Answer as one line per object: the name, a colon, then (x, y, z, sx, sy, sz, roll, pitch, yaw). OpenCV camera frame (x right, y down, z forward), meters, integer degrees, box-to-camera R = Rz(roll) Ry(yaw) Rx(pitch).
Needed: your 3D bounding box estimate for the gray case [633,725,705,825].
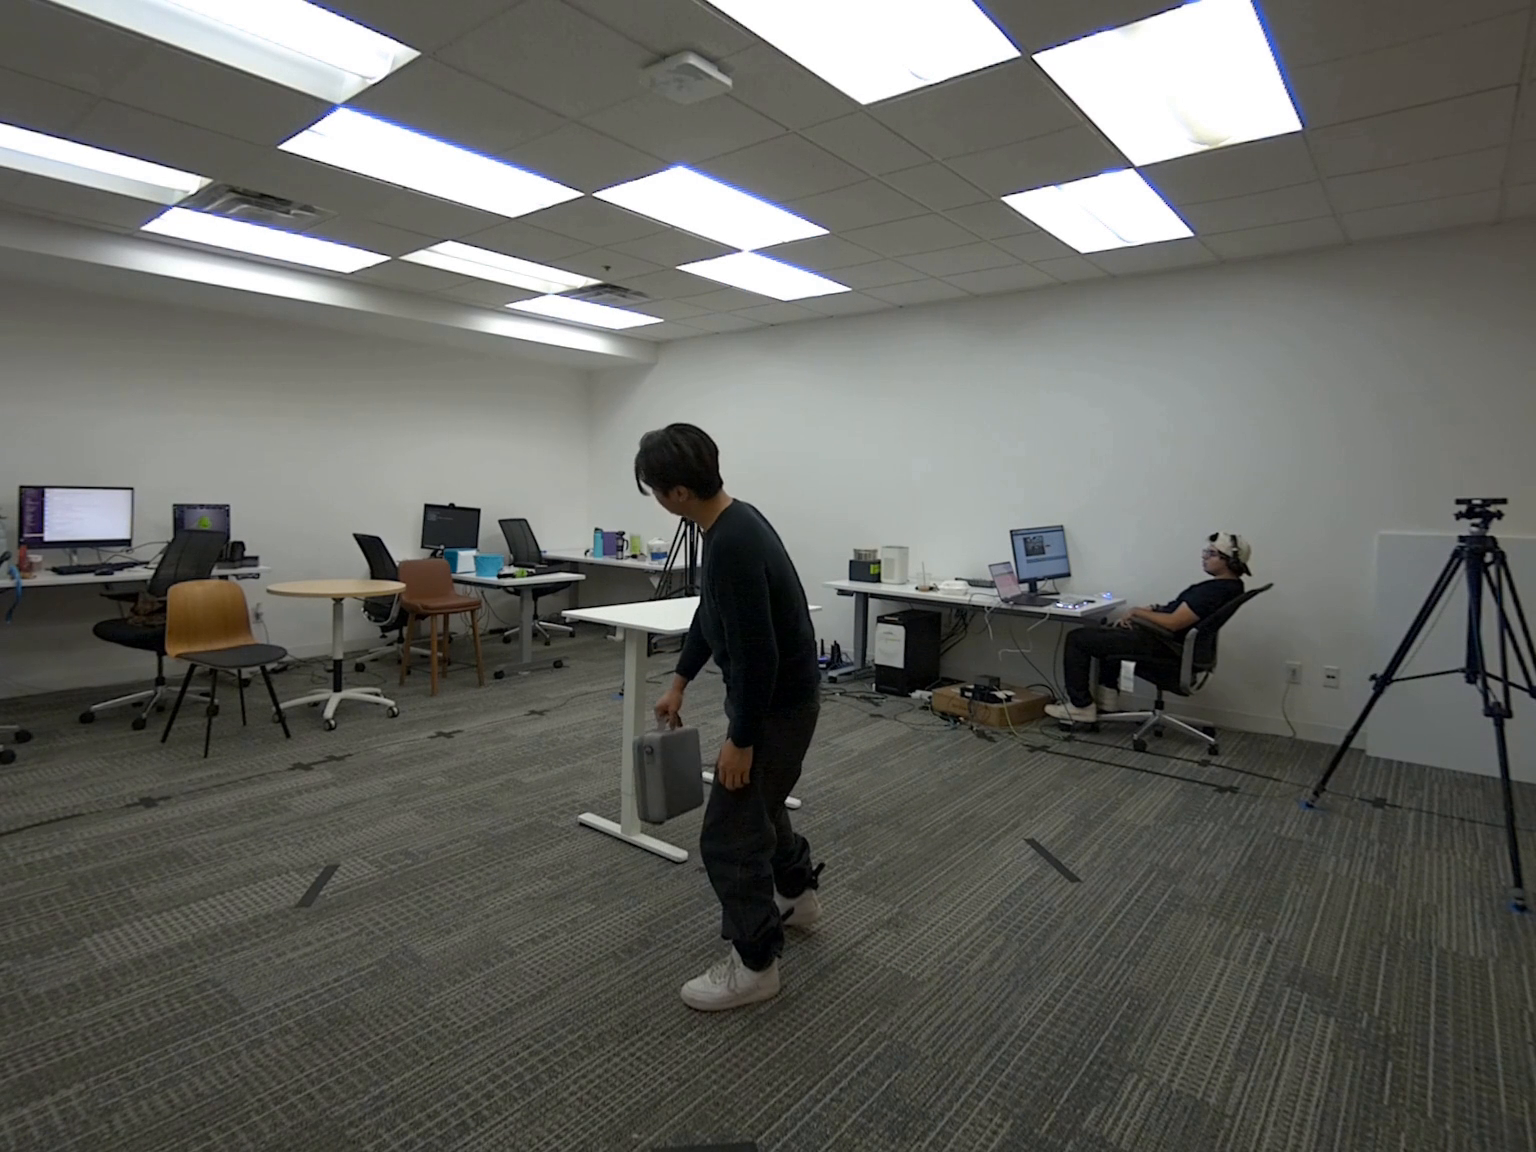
gray case: (-0.297, 0.581, 2.551, 0.106, 0.262, 0.250, -9, -4, 22)
